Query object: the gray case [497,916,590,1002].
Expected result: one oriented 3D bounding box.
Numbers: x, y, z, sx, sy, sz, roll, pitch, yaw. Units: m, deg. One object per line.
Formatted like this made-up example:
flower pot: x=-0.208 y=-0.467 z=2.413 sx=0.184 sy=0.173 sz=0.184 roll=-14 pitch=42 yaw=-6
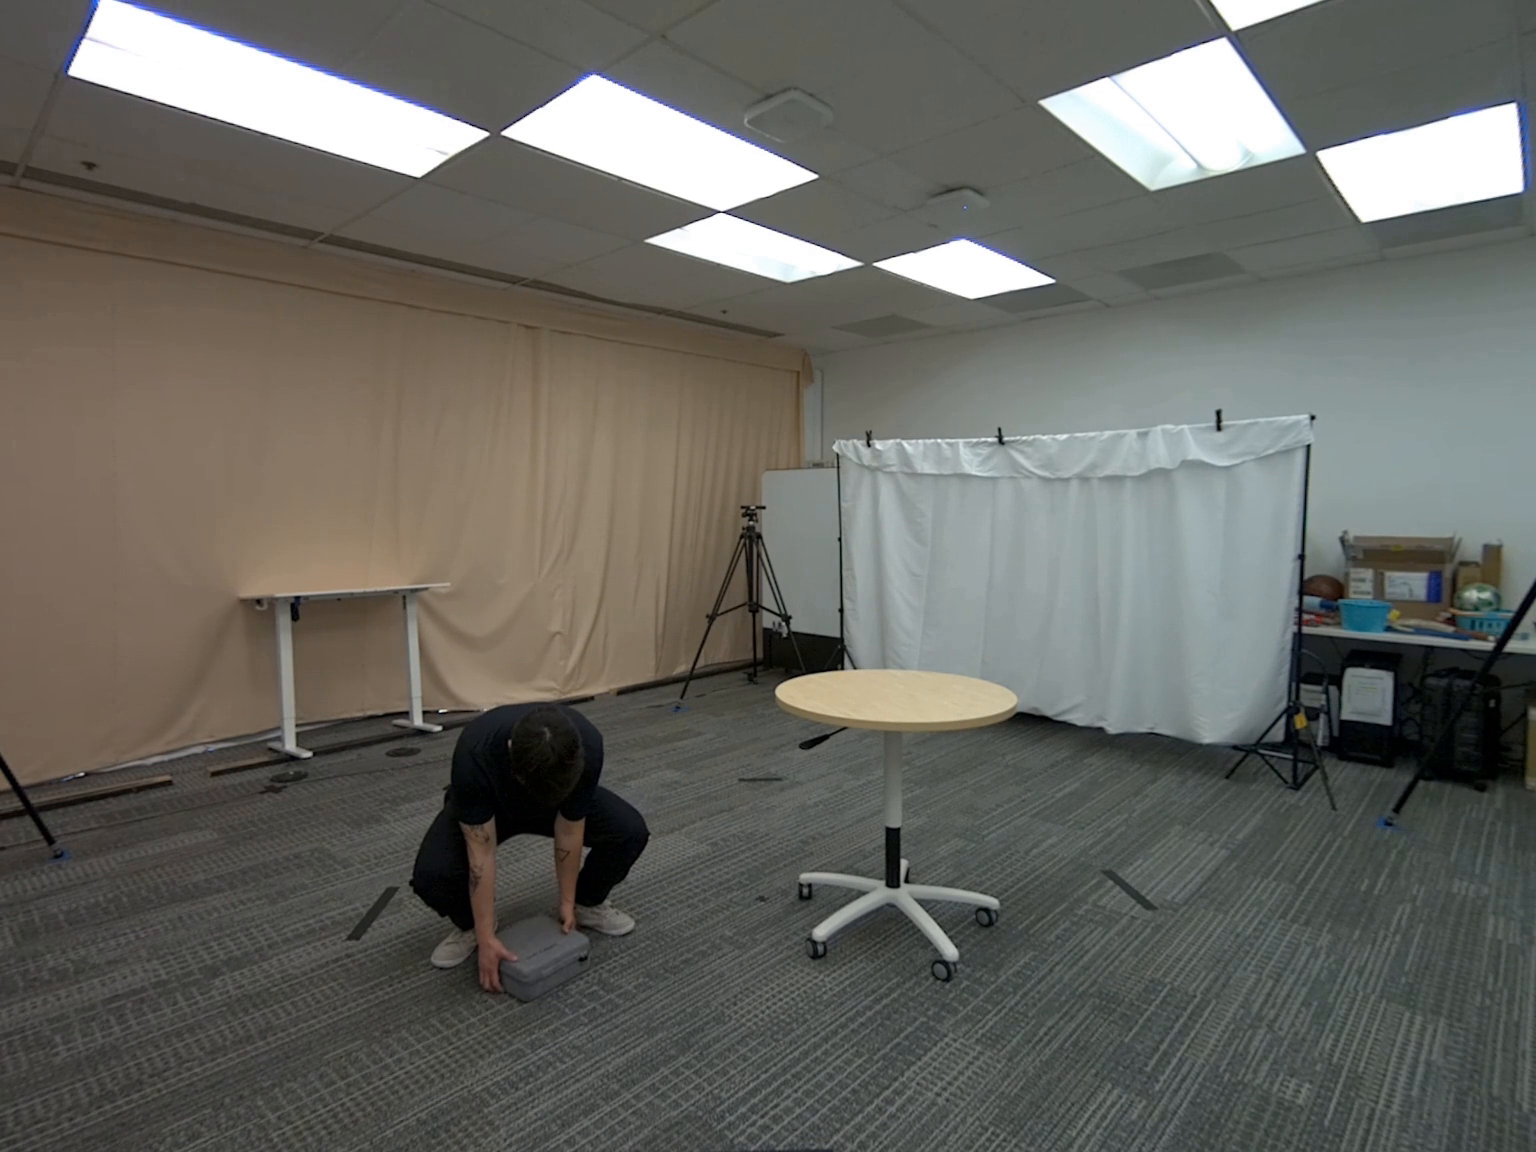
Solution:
gray case: x=-0.702 y=1.137 z=2.501 sx=0.269 sy=0.104 sz=0.249 roll=4 pitch=8 yaw=39
